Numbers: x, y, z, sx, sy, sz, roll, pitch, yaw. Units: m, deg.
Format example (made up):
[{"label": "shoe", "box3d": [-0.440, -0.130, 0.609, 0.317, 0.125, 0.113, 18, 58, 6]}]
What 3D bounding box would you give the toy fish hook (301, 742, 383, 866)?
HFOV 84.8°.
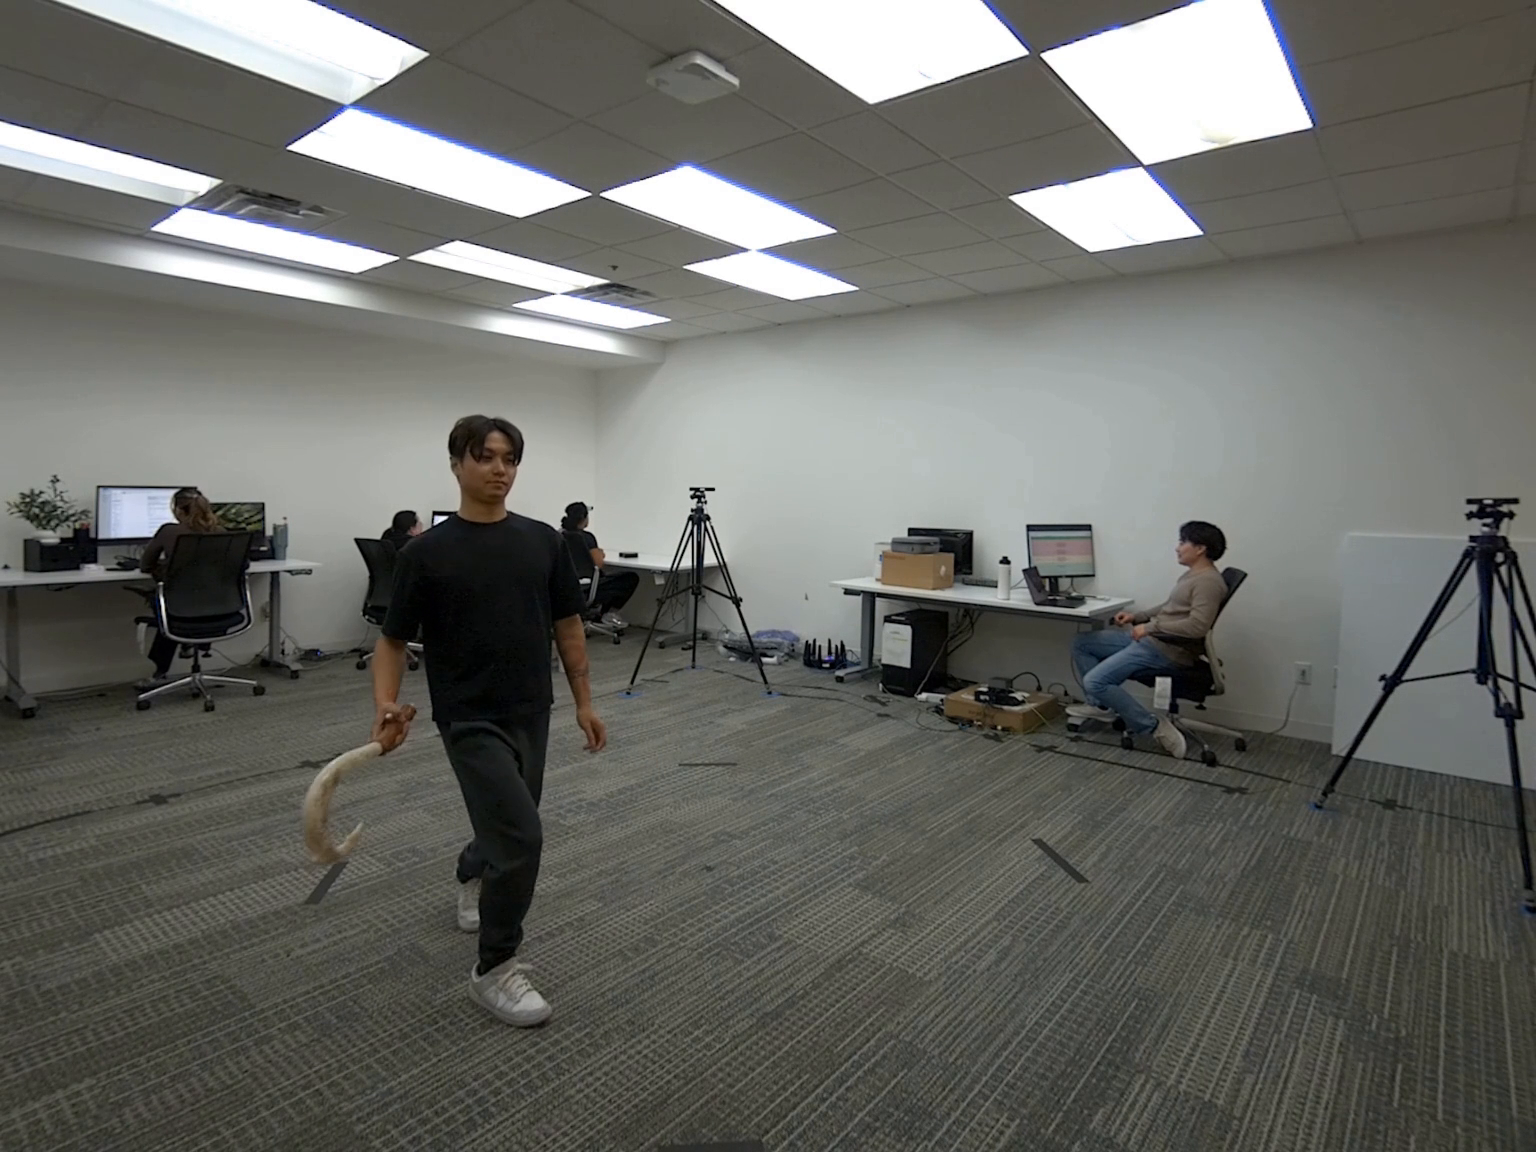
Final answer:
[{"label": "toy fish hook", "box3d": [-0.933, 0.465, 2.006, 0.048, 0.221, 0.512, 5, 17, 0]}]
